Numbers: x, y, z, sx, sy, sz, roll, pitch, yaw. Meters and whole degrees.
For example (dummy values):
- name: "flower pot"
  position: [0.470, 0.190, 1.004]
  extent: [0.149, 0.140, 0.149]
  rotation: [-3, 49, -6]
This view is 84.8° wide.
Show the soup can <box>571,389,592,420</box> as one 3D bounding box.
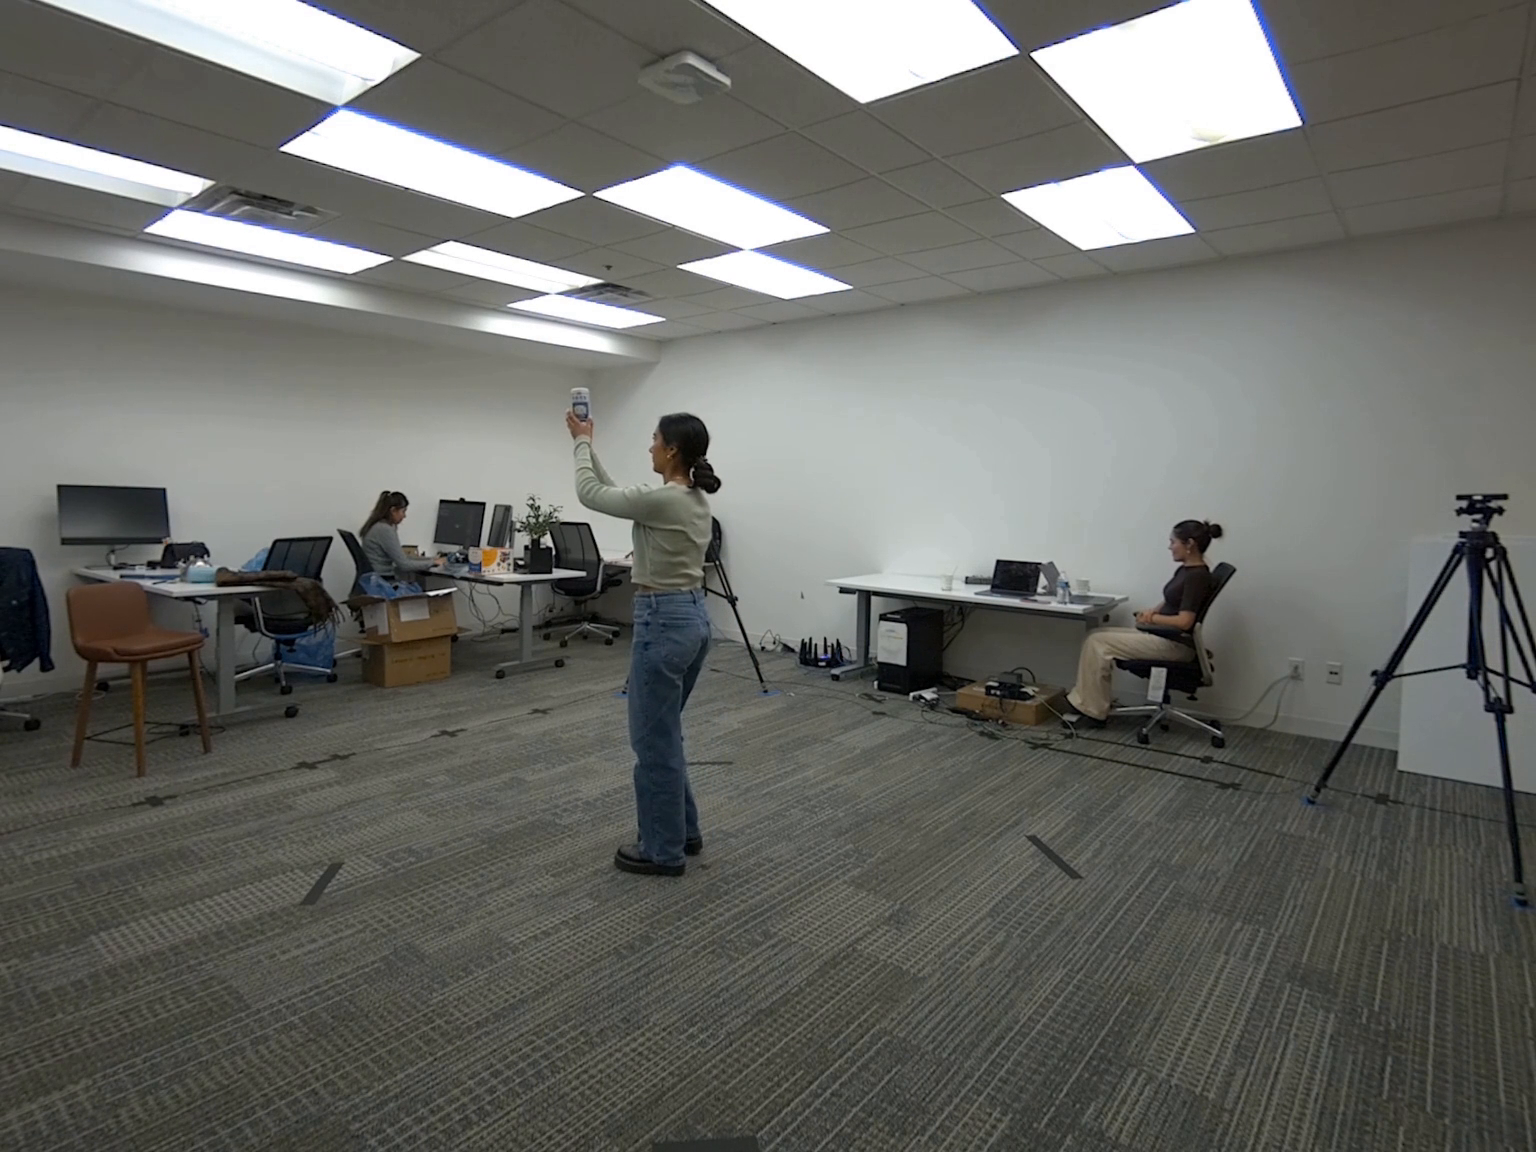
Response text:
- name: "soup can"
  position: [-0.716, -0.652, 3.218]
  extent: [0.067, 0.121, 0.067]
  rotation: [0, 2, -2]
